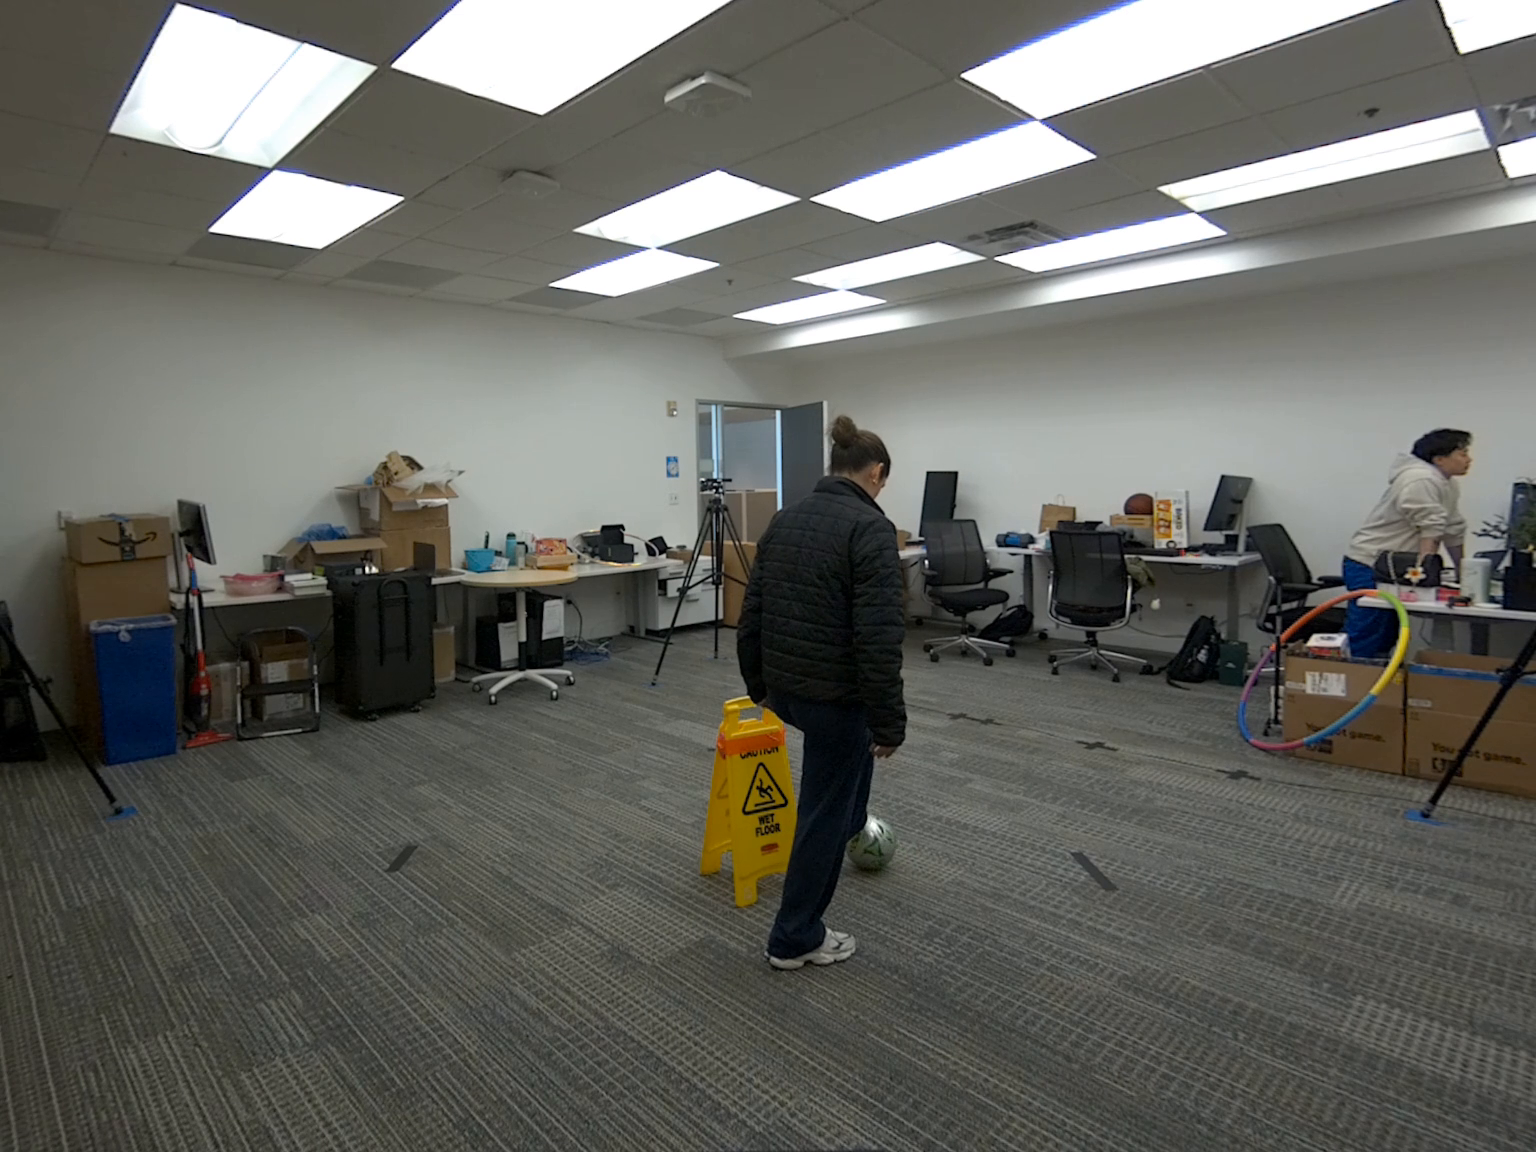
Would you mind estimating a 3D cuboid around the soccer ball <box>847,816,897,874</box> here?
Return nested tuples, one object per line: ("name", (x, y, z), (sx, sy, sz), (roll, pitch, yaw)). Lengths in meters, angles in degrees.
("soccer ball", (0.362, 0.946, 3.048), (0.187, 0.187, 0.188), (-1, 5, -2))
